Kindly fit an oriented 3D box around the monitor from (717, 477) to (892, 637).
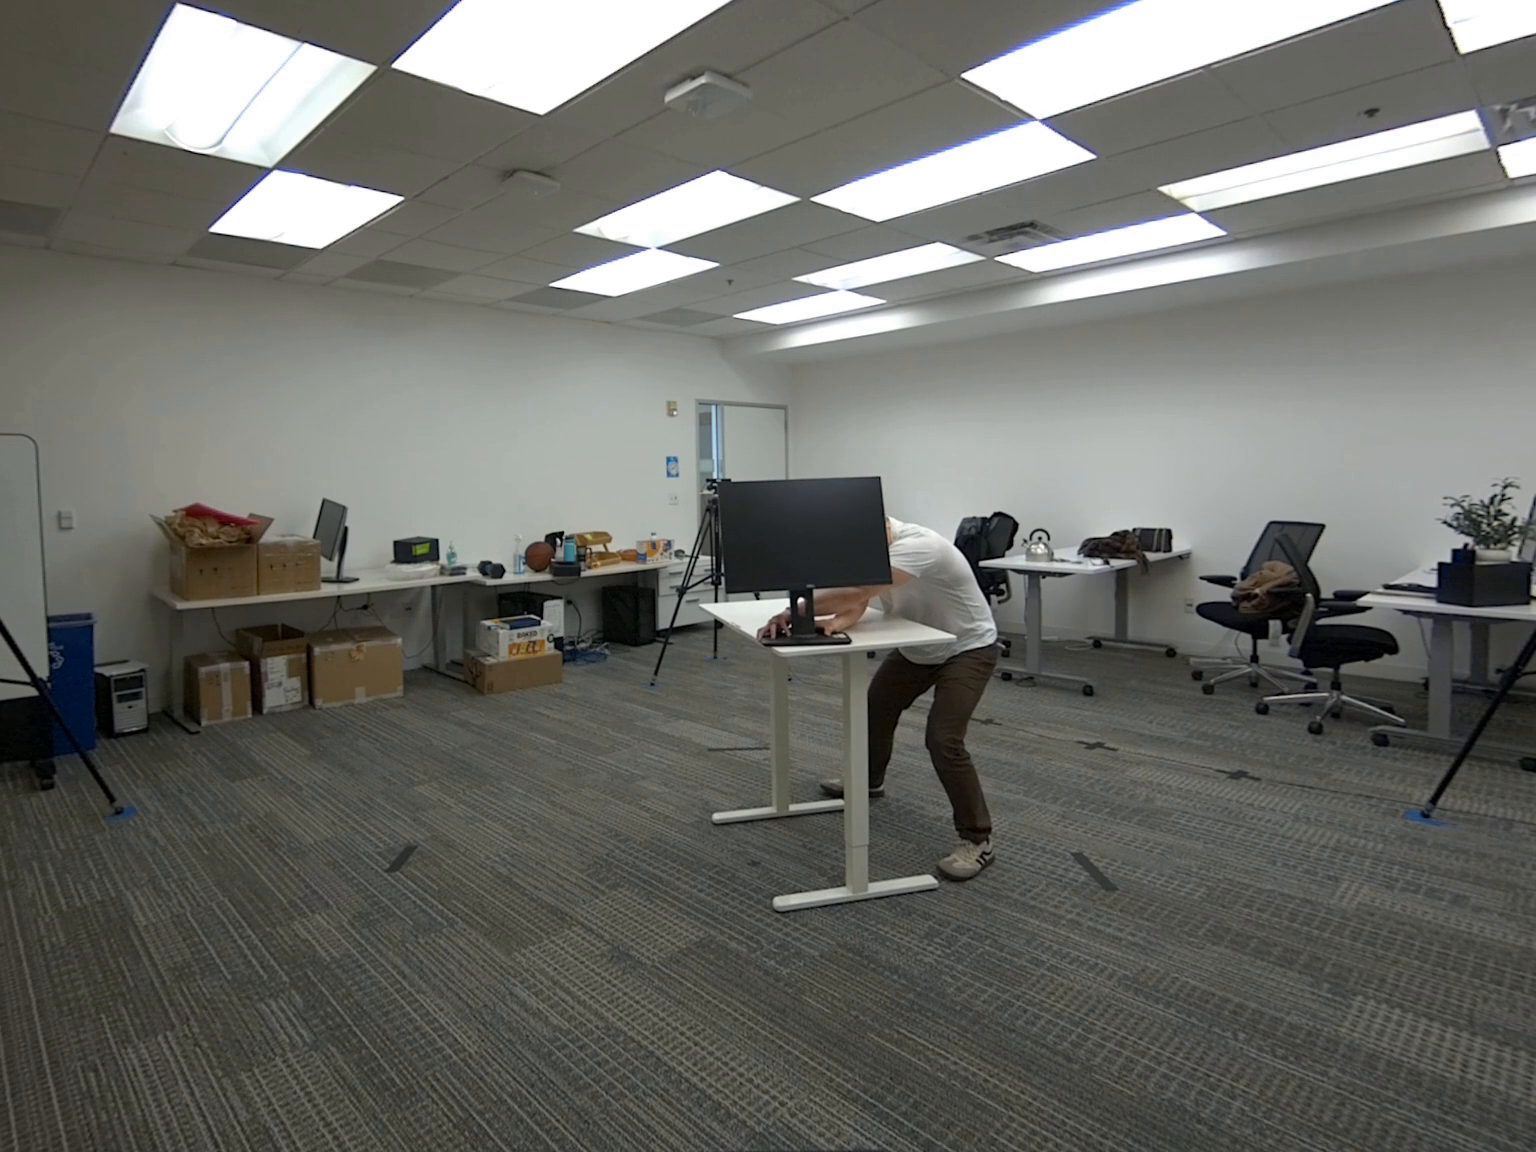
[{"bbox_3d":[0.114,-0.049,2.715,0.533,0.521,0.189,-3,2,-13],"label":"monitor"}]
